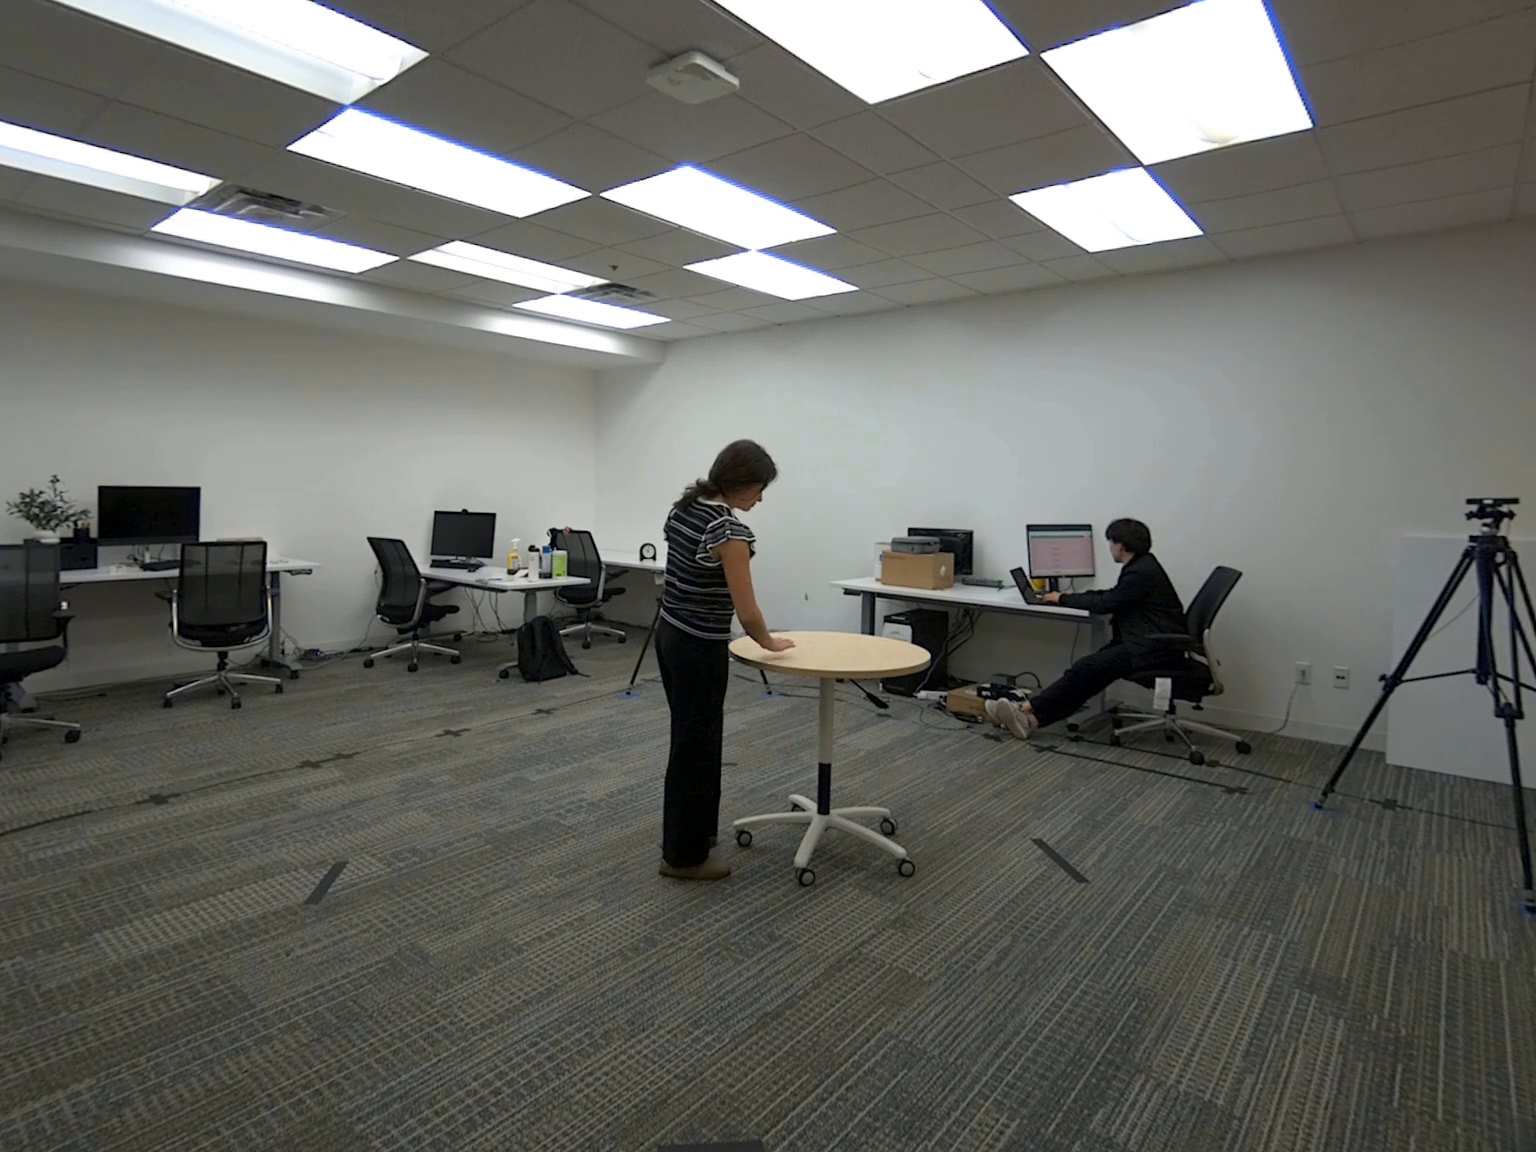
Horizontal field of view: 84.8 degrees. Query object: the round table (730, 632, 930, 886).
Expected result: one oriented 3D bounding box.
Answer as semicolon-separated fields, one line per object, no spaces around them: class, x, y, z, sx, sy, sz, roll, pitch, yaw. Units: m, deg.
round table;0.214;0.671;3.293;0.763;0.791;0.768;1;5;-2
